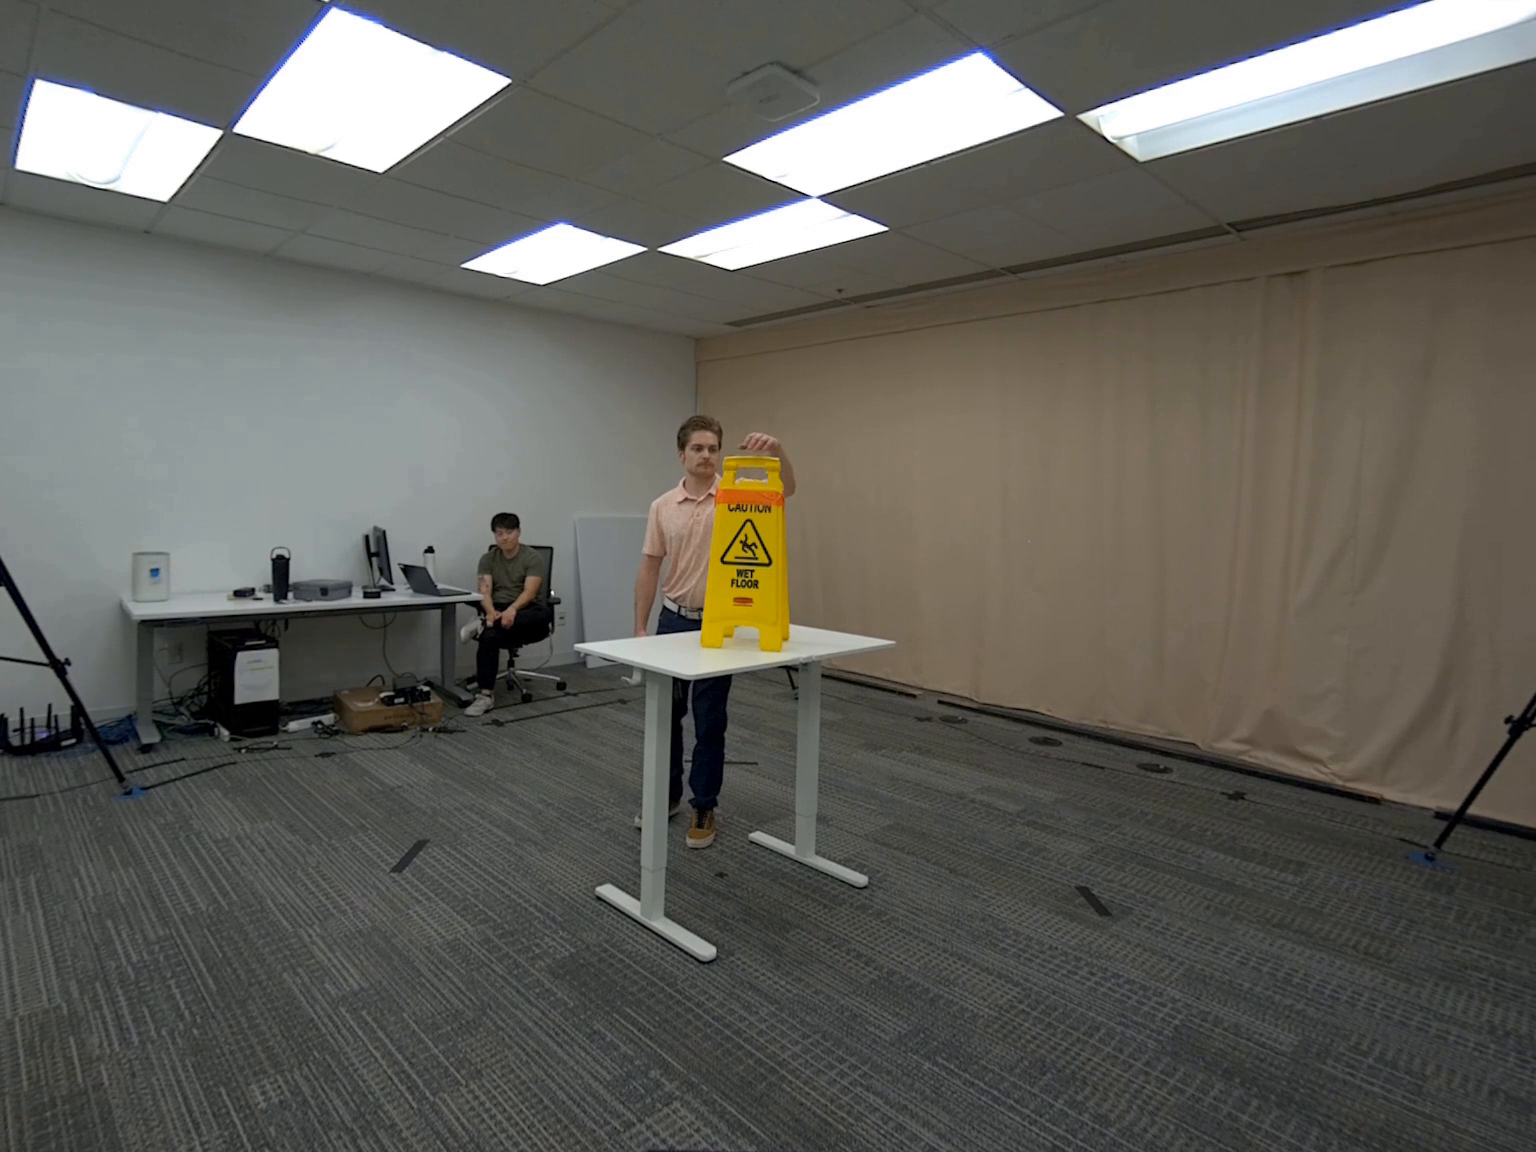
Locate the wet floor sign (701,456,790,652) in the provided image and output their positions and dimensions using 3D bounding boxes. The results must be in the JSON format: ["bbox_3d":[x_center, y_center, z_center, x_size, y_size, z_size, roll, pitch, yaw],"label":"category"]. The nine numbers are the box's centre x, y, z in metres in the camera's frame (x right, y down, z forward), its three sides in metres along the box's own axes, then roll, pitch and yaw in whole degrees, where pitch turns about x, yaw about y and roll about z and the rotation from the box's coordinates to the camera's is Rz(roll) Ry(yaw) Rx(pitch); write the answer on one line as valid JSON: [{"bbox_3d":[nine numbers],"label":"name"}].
[{"bbox_3d":[-0.071,-0.085,2.923,0.284,0.645,0.288,3,3,7],"label":"wet floor sign"}]
